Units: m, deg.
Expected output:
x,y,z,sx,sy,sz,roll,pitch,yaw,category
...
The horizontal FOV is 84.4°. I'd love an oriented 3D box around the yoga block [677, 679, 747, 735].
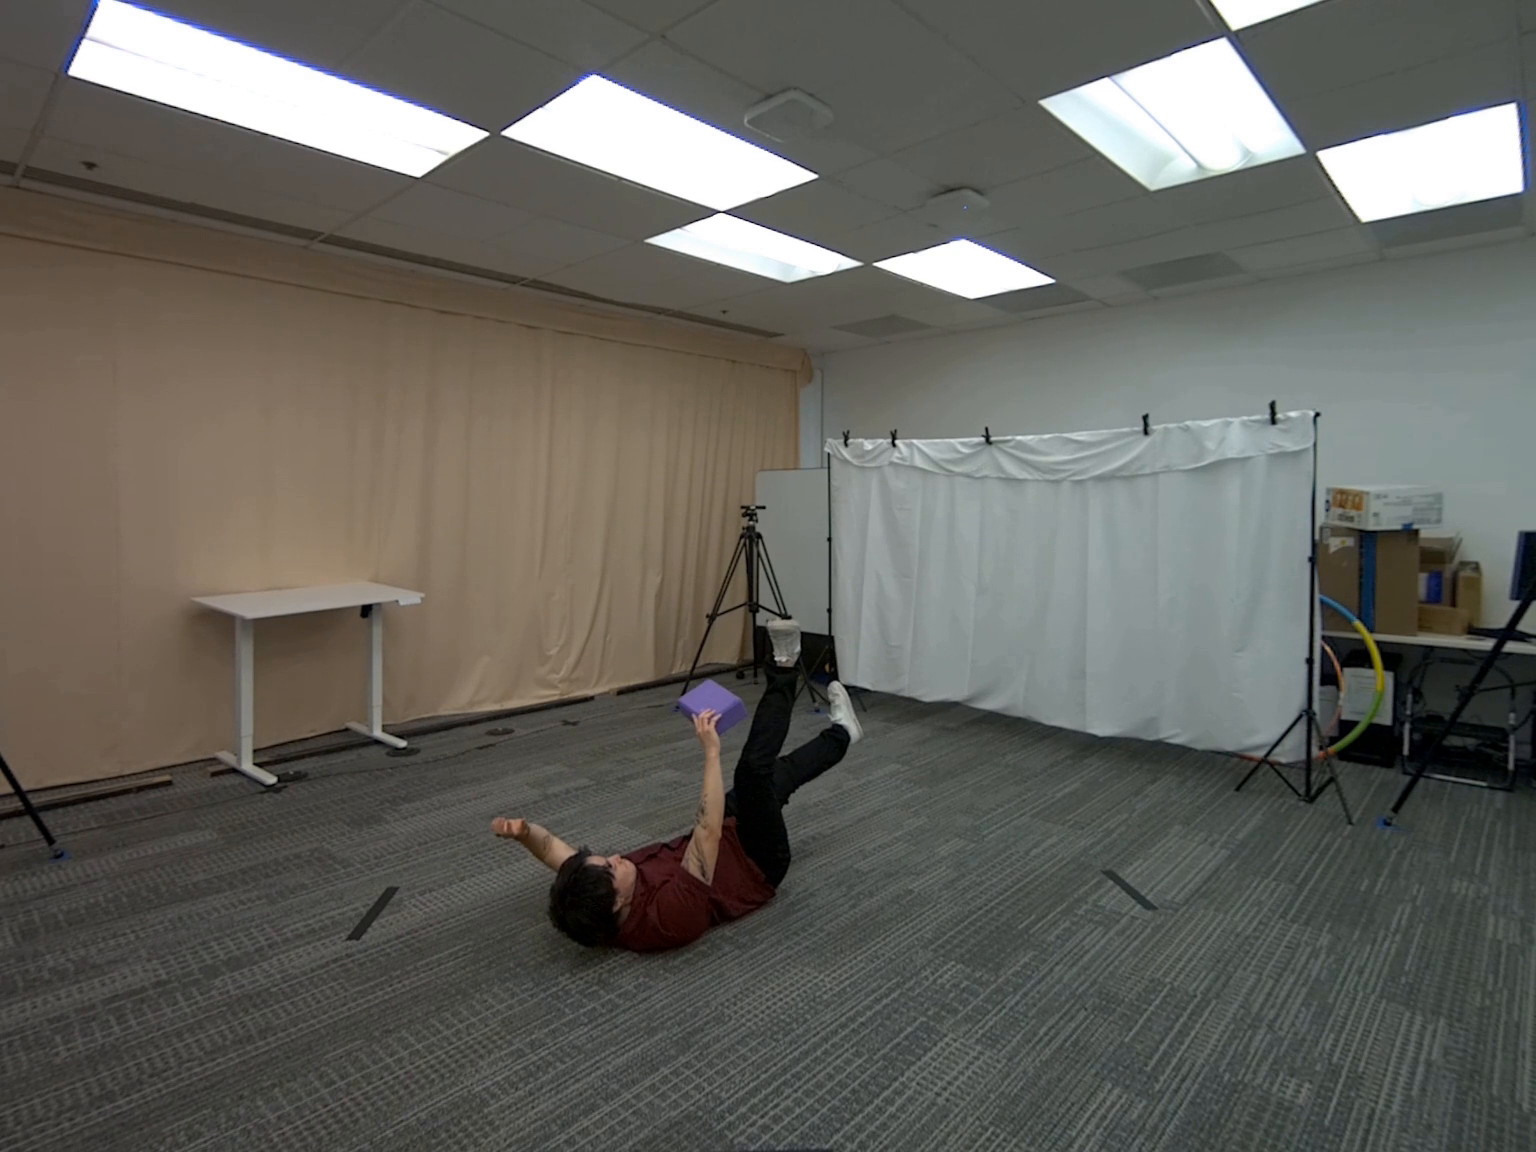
x,y,z,sx,sy,sz,roll,pitch,yaw,category
-0.189,0.450,2.876,0.147,0.075,0.237,-32,26,-22,yoga block
